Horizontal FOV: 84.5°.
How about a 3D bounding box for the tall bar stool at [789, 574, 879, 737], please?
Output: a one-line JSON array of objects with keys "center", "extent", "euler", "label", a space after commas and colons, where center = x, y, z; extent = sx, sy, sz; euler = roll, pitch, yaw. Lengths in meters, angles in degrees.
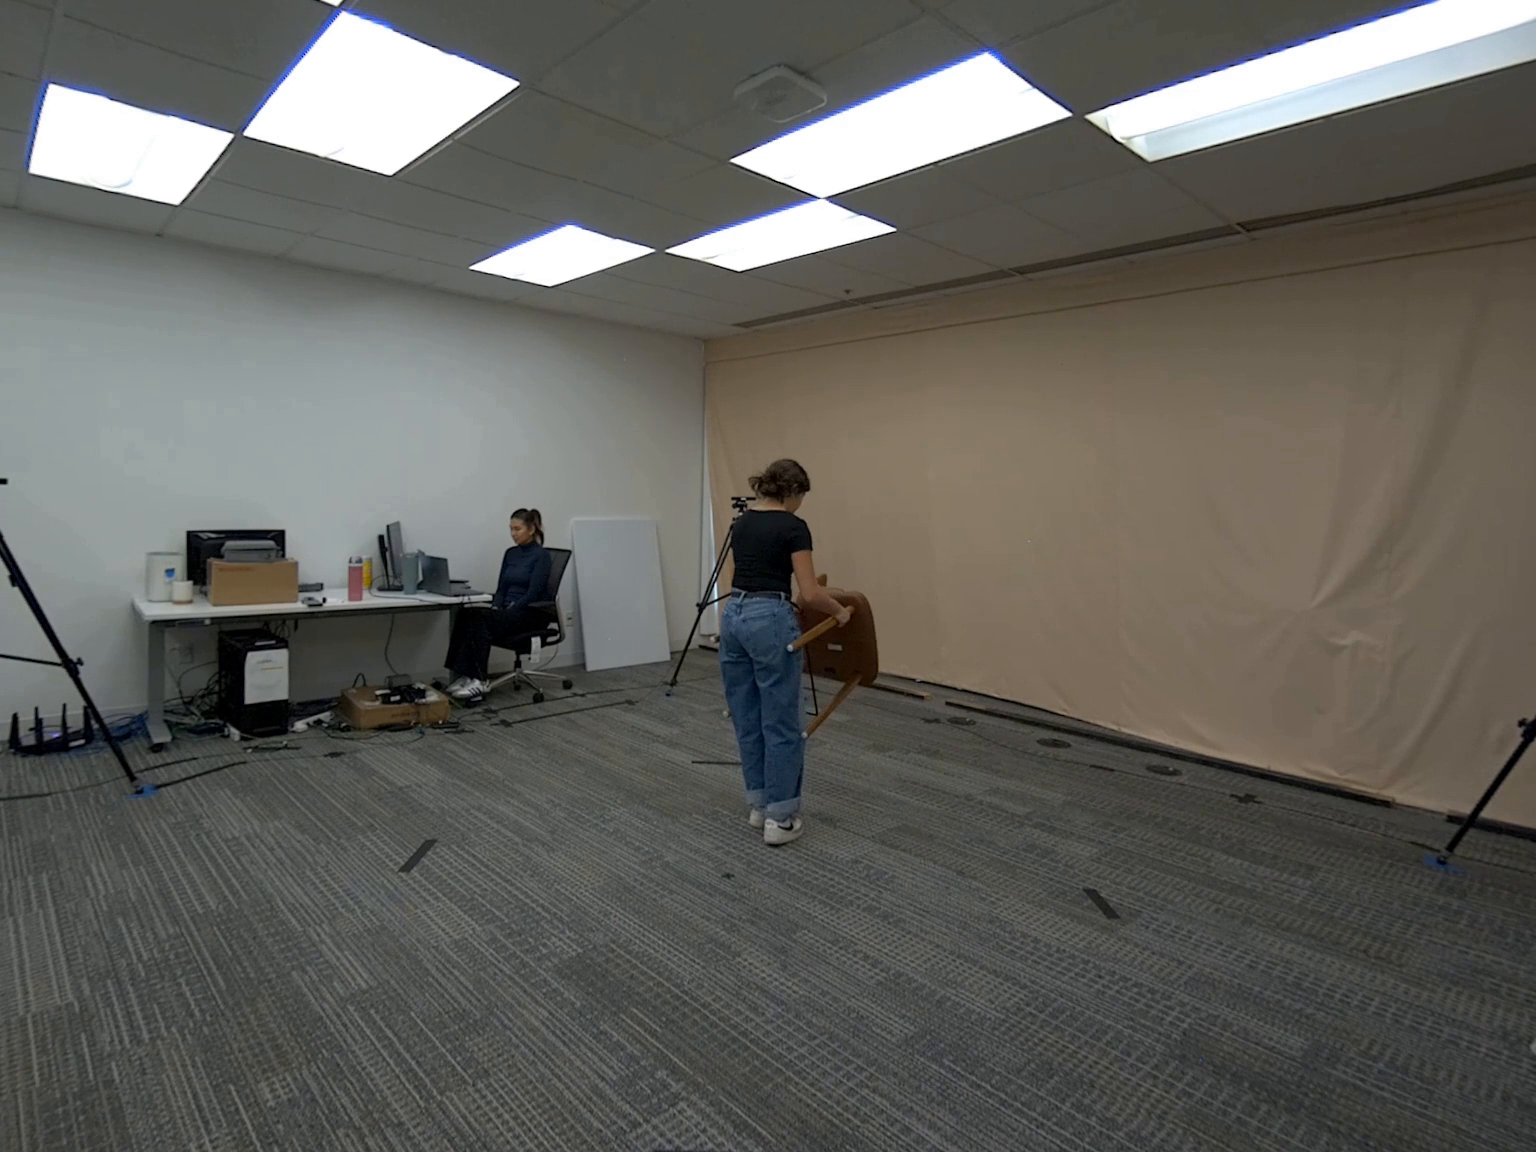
[{"center": [0.204, 0.320, 3.816], "extent": [0.479, 0.451, 0.879], "euler": [2, 18, 37], "label": "tall bar stool"}]
